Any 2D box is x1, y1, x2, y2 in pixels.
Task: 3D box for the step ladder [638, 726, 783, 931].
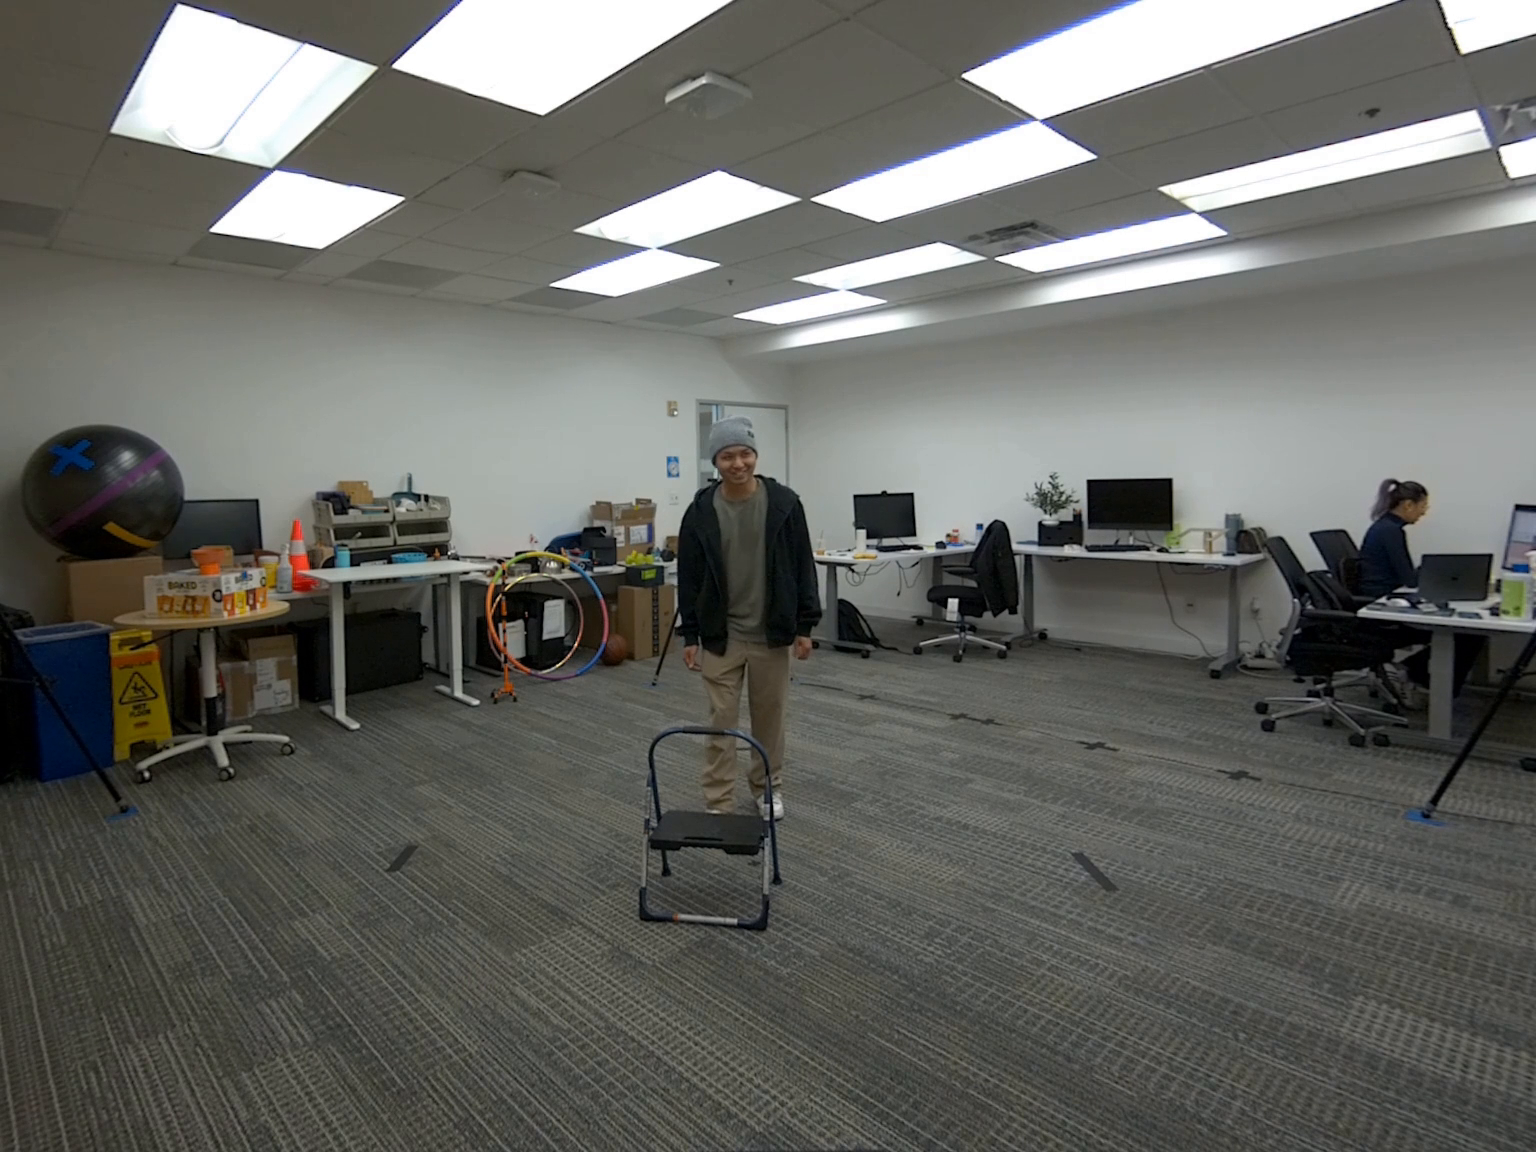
[{"bbox_3d":[-0.192,0.779,2.822,0.435,0.604,0.347,0,4,9],"label":"step ladder"}]
